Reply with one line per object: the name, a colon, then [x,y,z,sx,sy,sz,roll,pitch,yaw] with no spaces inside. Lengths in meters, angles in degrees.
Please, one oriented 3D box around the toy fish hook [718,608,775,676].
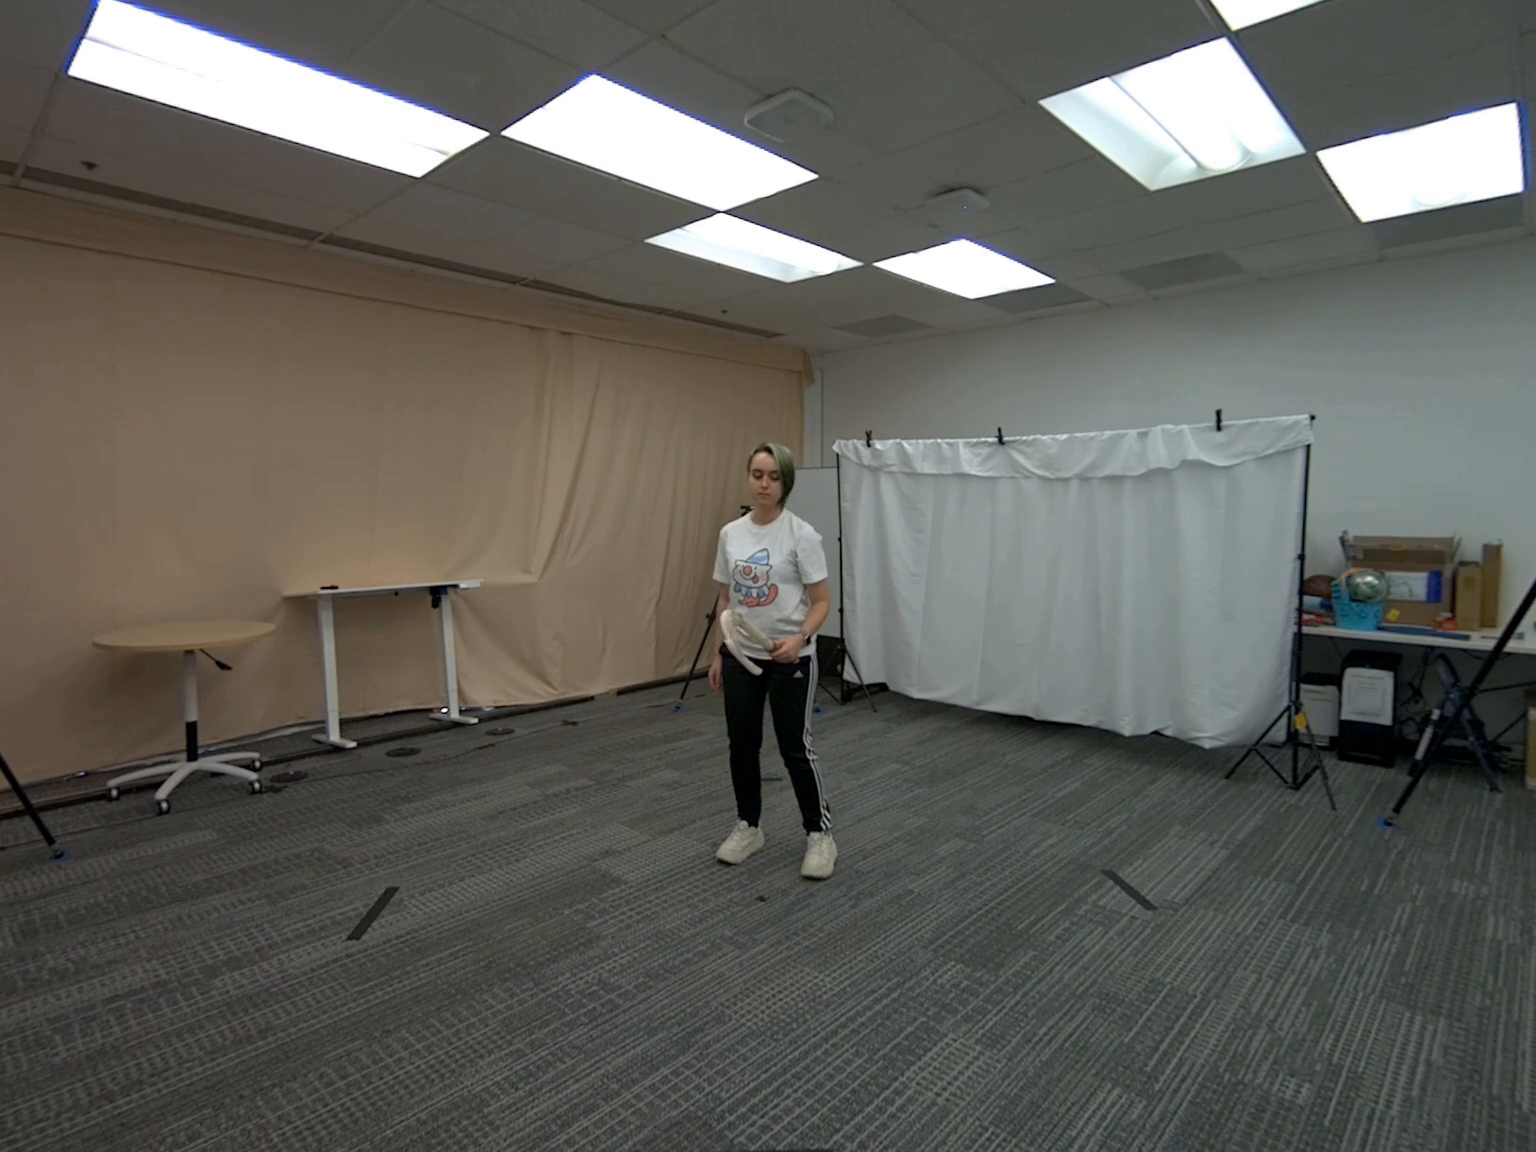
toy fish hook: [-0.020,0.274,2.897,0.049,0.229,0.488,-21,-33,24]
